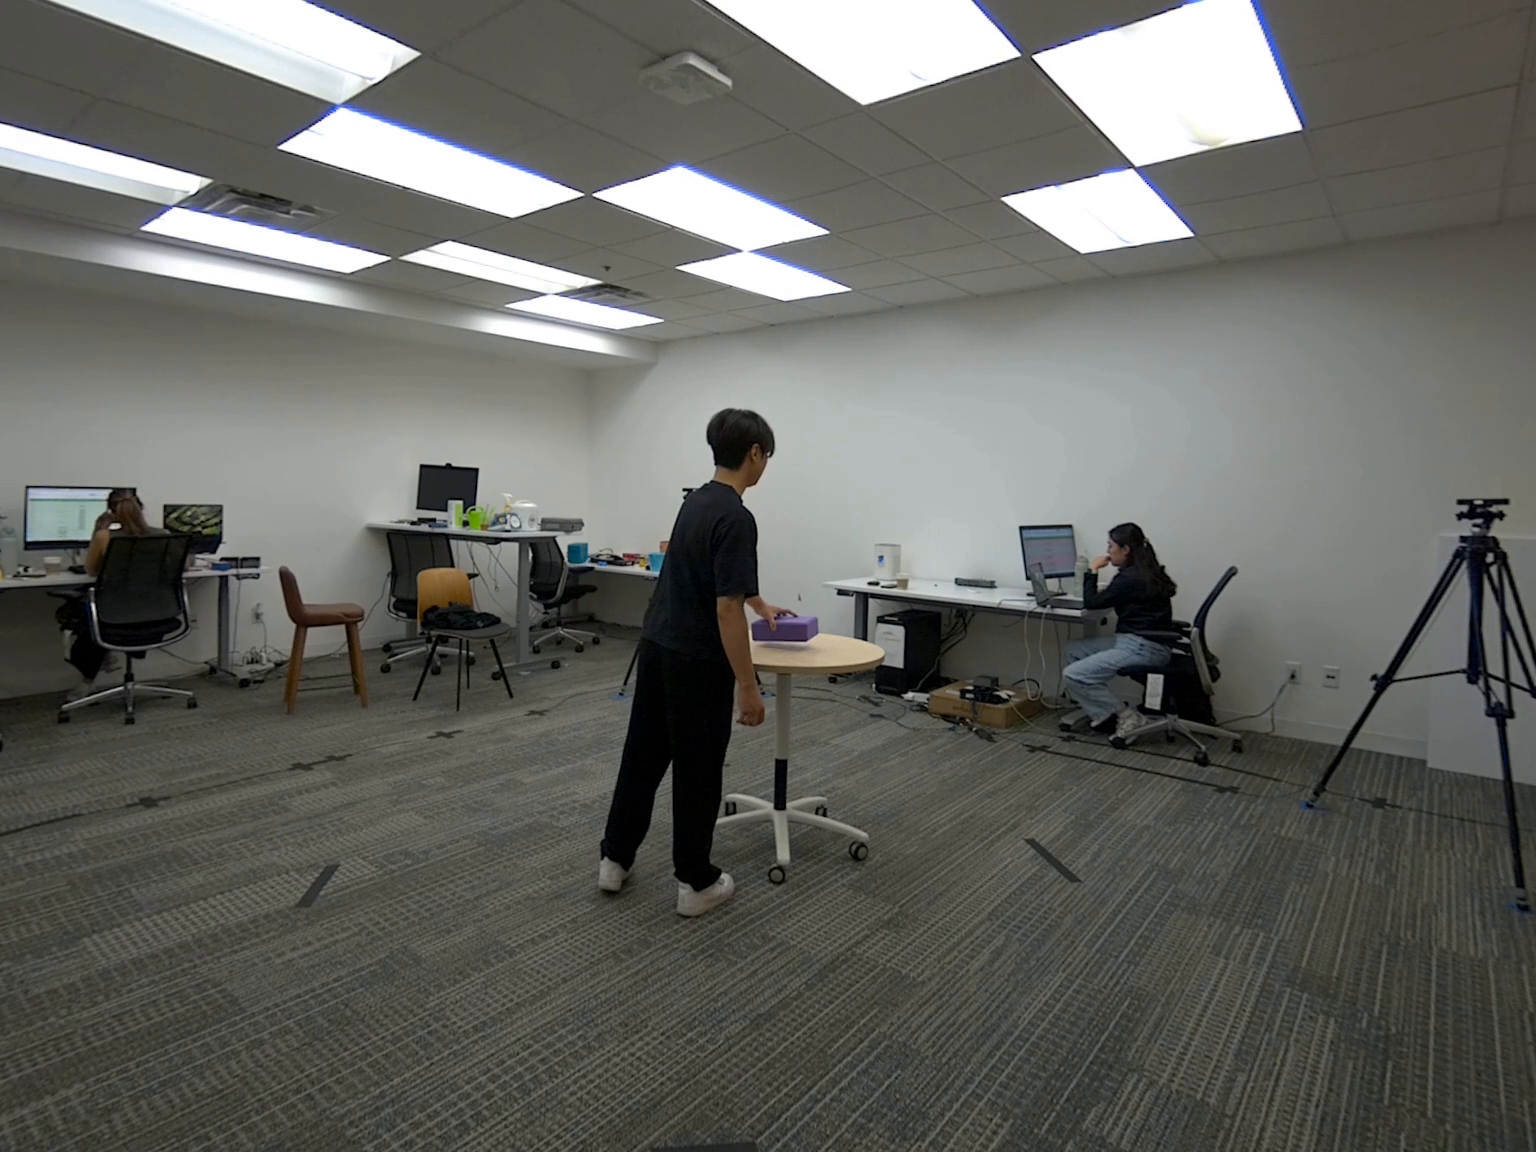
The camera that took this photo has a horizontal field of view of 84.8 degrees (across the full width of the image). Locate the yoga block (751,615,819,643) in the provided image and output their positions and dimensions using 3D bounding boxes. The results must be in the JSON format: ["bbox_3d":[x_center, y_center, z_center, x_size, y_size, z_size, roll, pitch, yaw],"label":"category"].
[{"bbox_3d":[0.056,0.198,3.310,0.235,0.076,0.146,-2,6,24],"label":"yoga block"}]
